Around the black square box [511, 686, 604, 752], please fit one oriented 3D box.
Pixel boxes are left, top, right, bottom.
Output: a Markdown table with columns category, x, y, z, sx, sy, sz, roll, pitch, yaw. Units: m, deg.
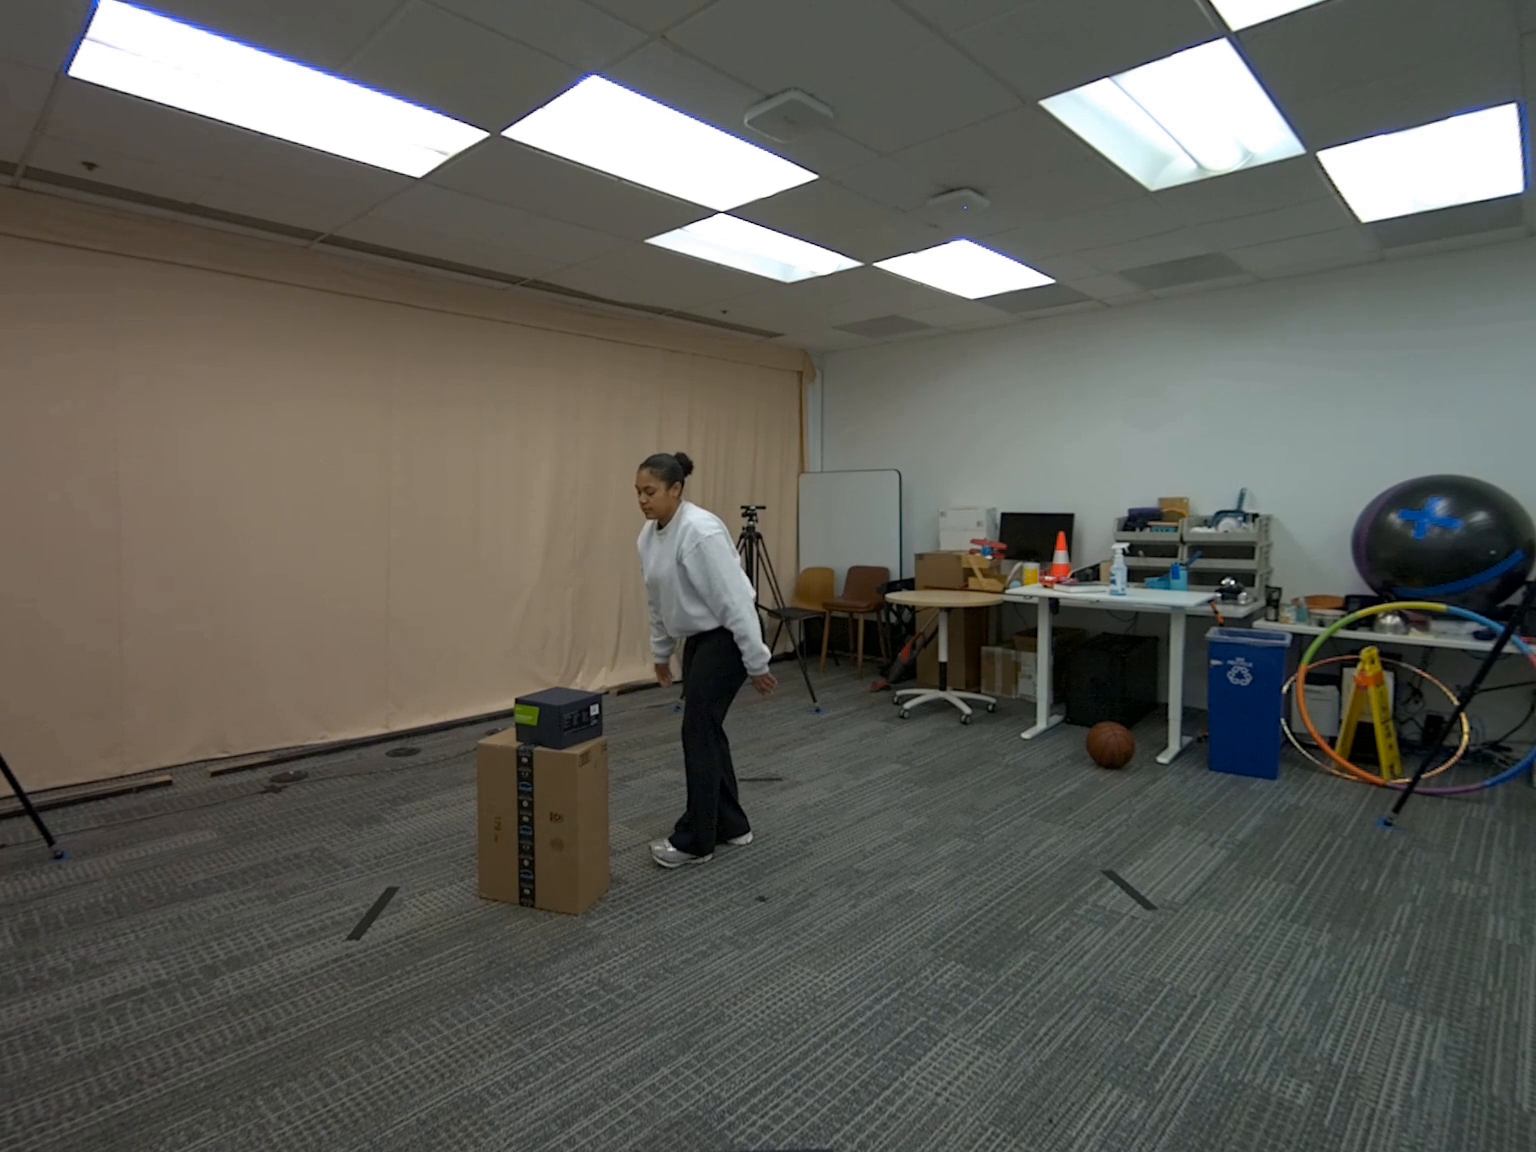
| category | x | y | z | sx | sy | sz | roll | pitch | yaw |
| --- | --- | --- | --- | --- | --- | --- | --- | --- | --- |
| black square box | -0.748 | 0.499 | 3.008 | 0.235 | 0.155 | 0.211 | 1 | 6 | 33 |
